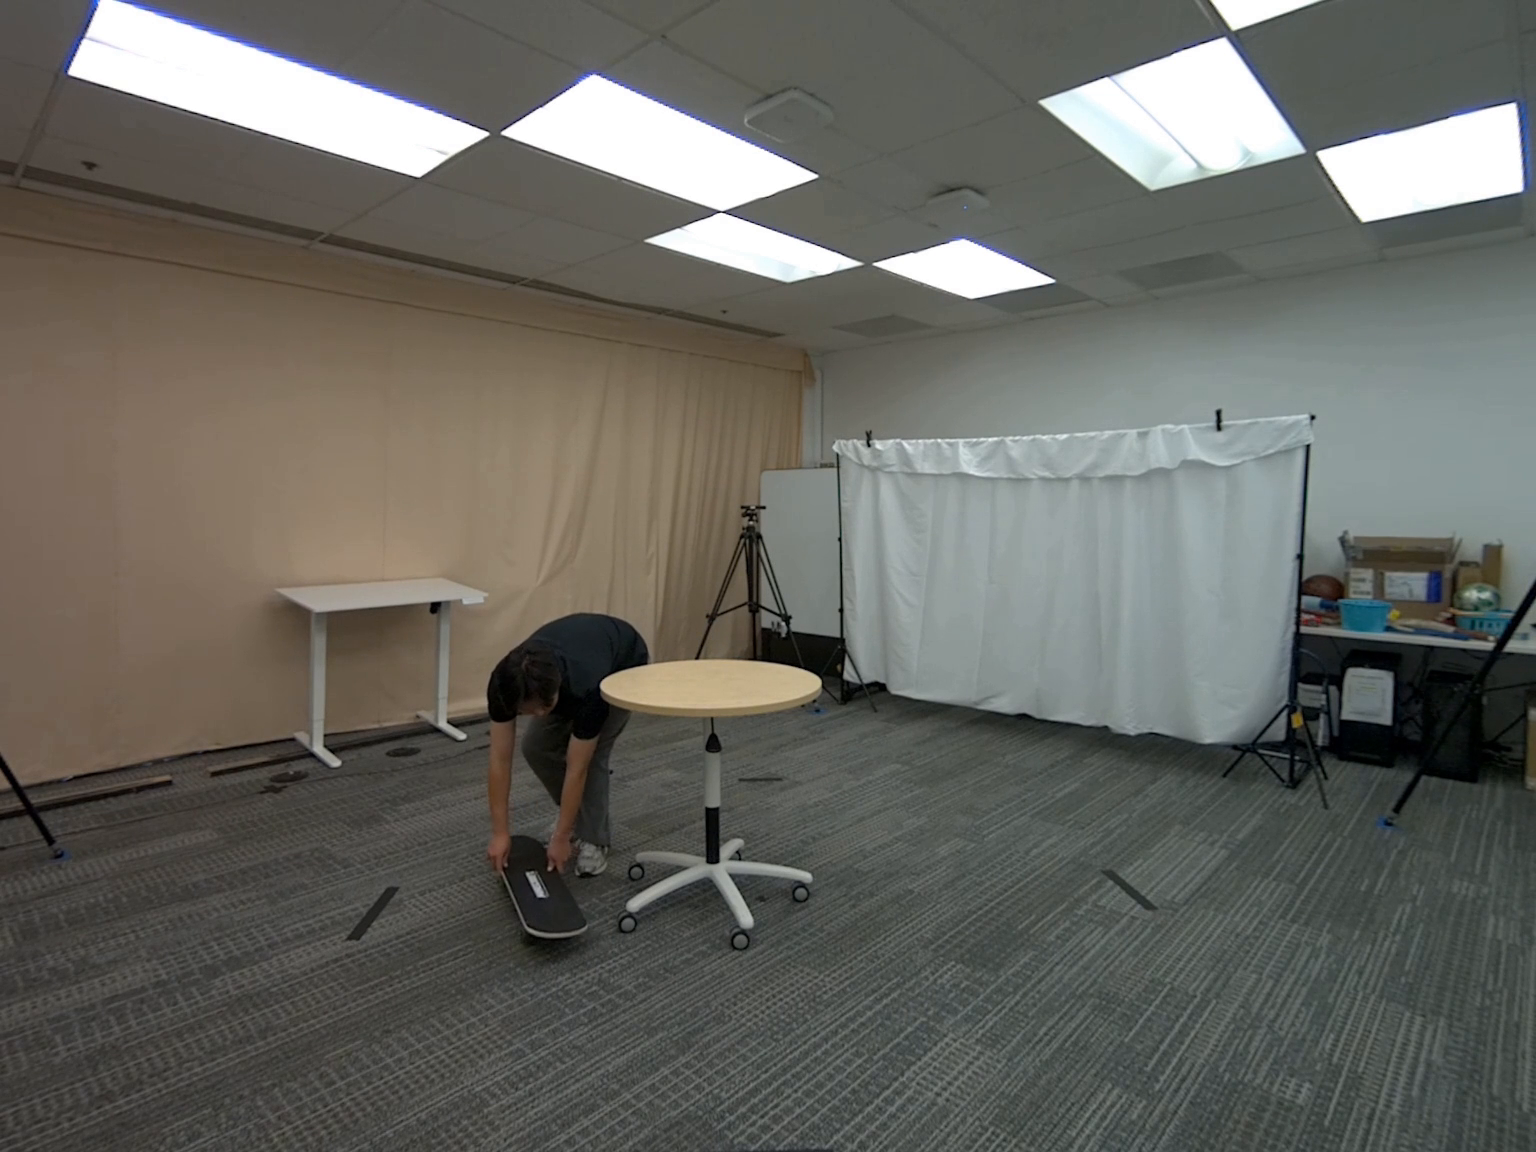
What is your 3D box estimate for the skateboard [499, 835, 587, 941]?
[{"bbox_3d":[-0.795,1.089,2.889,0.188,0.110,0.807,2,4,-27],"label":"skateboard"}]
